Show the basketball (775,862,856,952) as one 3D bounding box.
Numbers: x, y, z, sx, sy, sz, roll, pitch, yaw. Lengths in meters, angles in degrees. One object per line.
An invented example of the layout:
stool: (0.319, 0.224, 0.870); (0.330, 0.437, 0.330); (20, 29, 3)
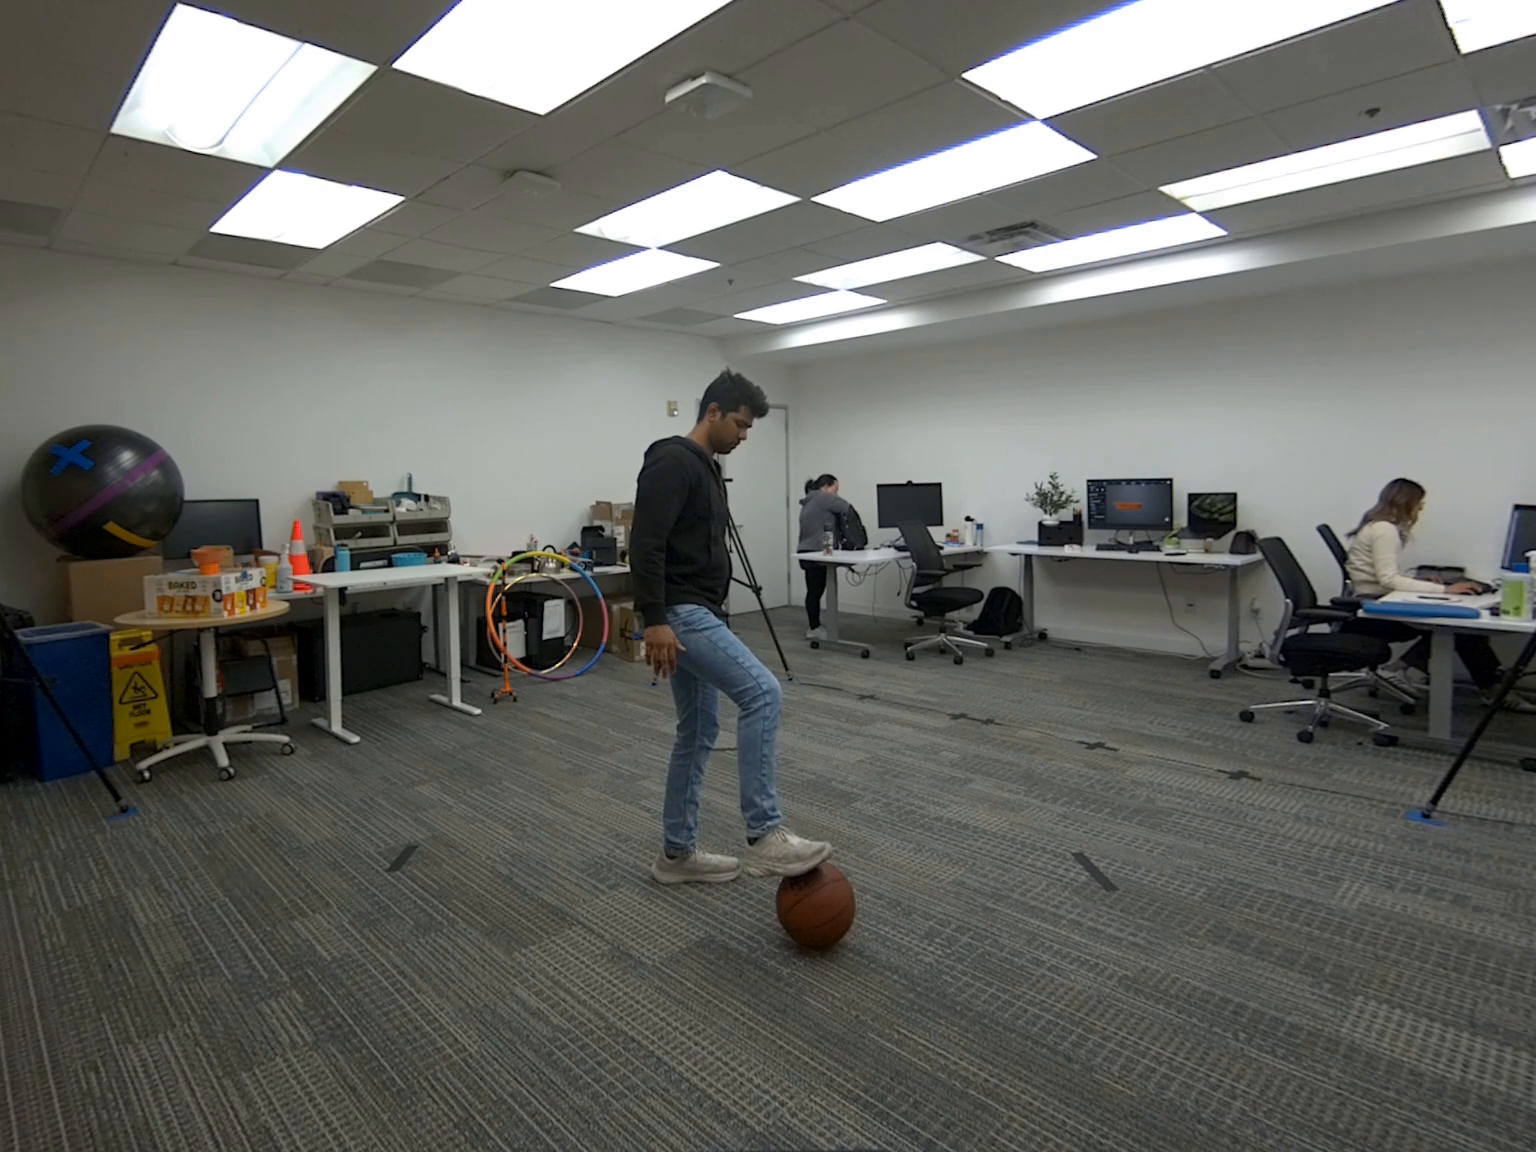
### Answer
basketball: (0.143, 0.982, 2.573); (0.236, 0.235, 0.237); (-1, 5, -2)
